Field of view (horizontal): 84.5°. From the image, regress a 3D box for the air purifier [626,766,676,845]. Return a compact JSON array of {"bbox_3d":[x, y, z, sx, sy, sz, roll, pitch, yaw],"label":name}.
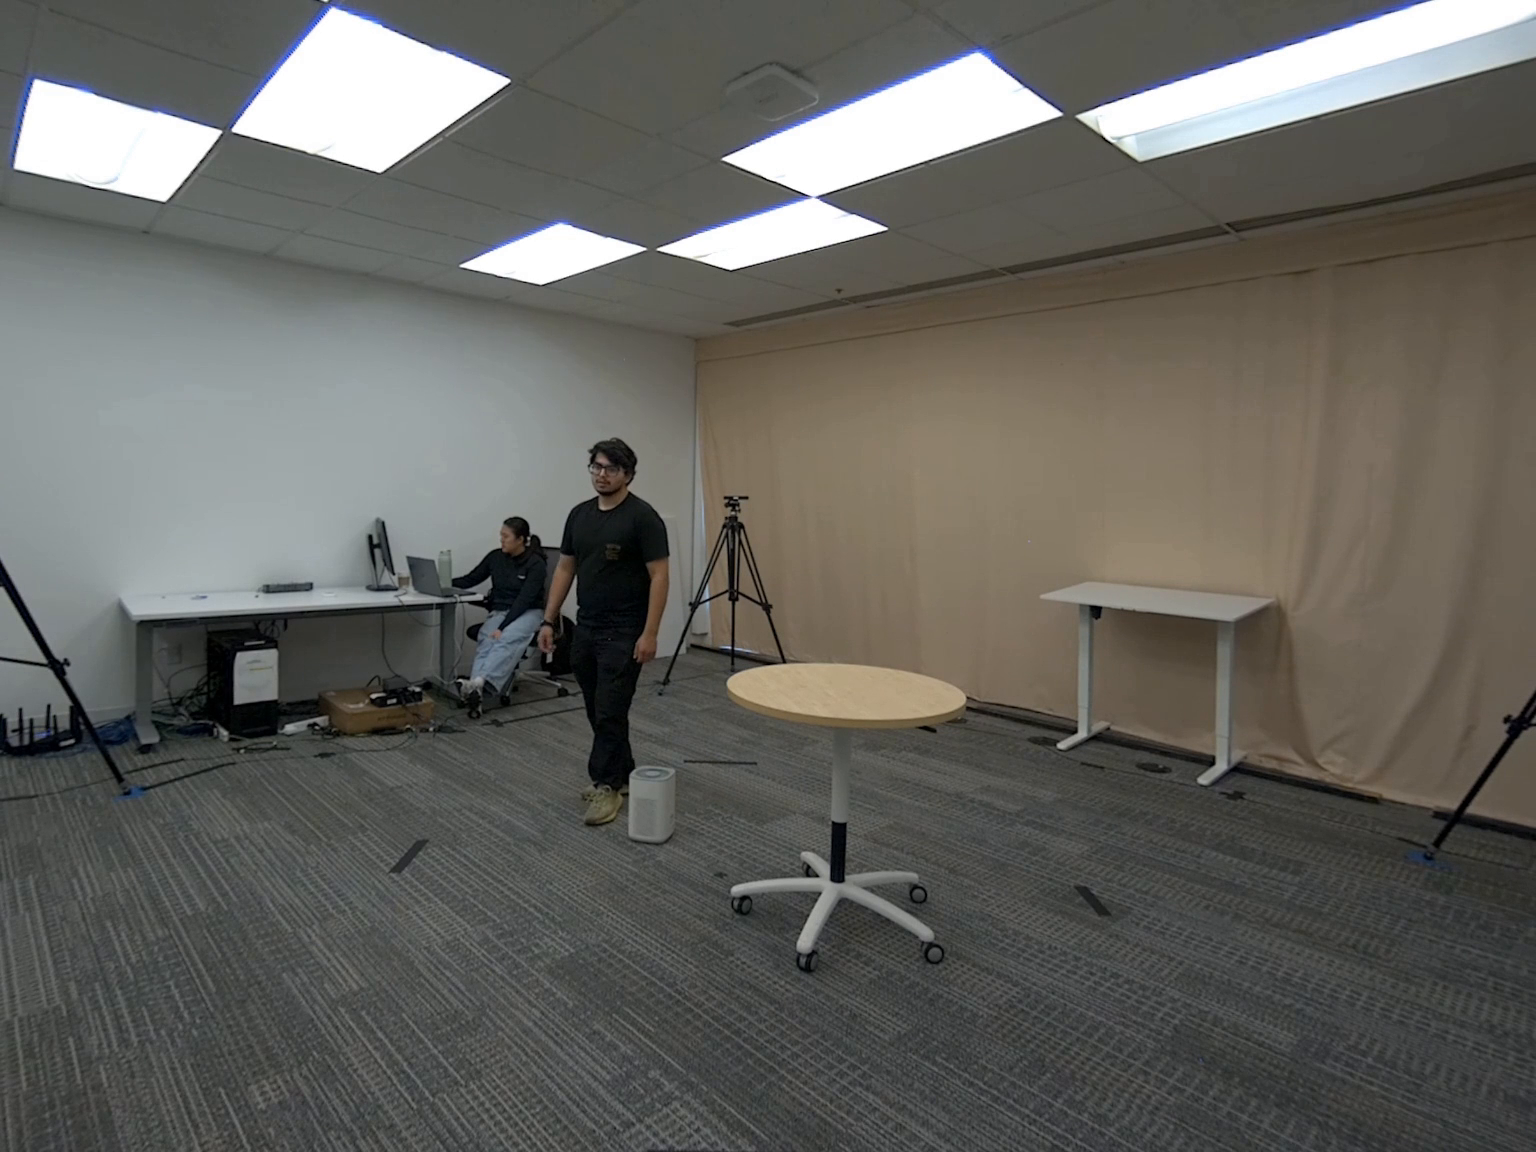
[{"bbox_3d":[-0.481,0.930,3.435,0.176,0.261,0.166,3,4,16],"label":"air purifier"}]
